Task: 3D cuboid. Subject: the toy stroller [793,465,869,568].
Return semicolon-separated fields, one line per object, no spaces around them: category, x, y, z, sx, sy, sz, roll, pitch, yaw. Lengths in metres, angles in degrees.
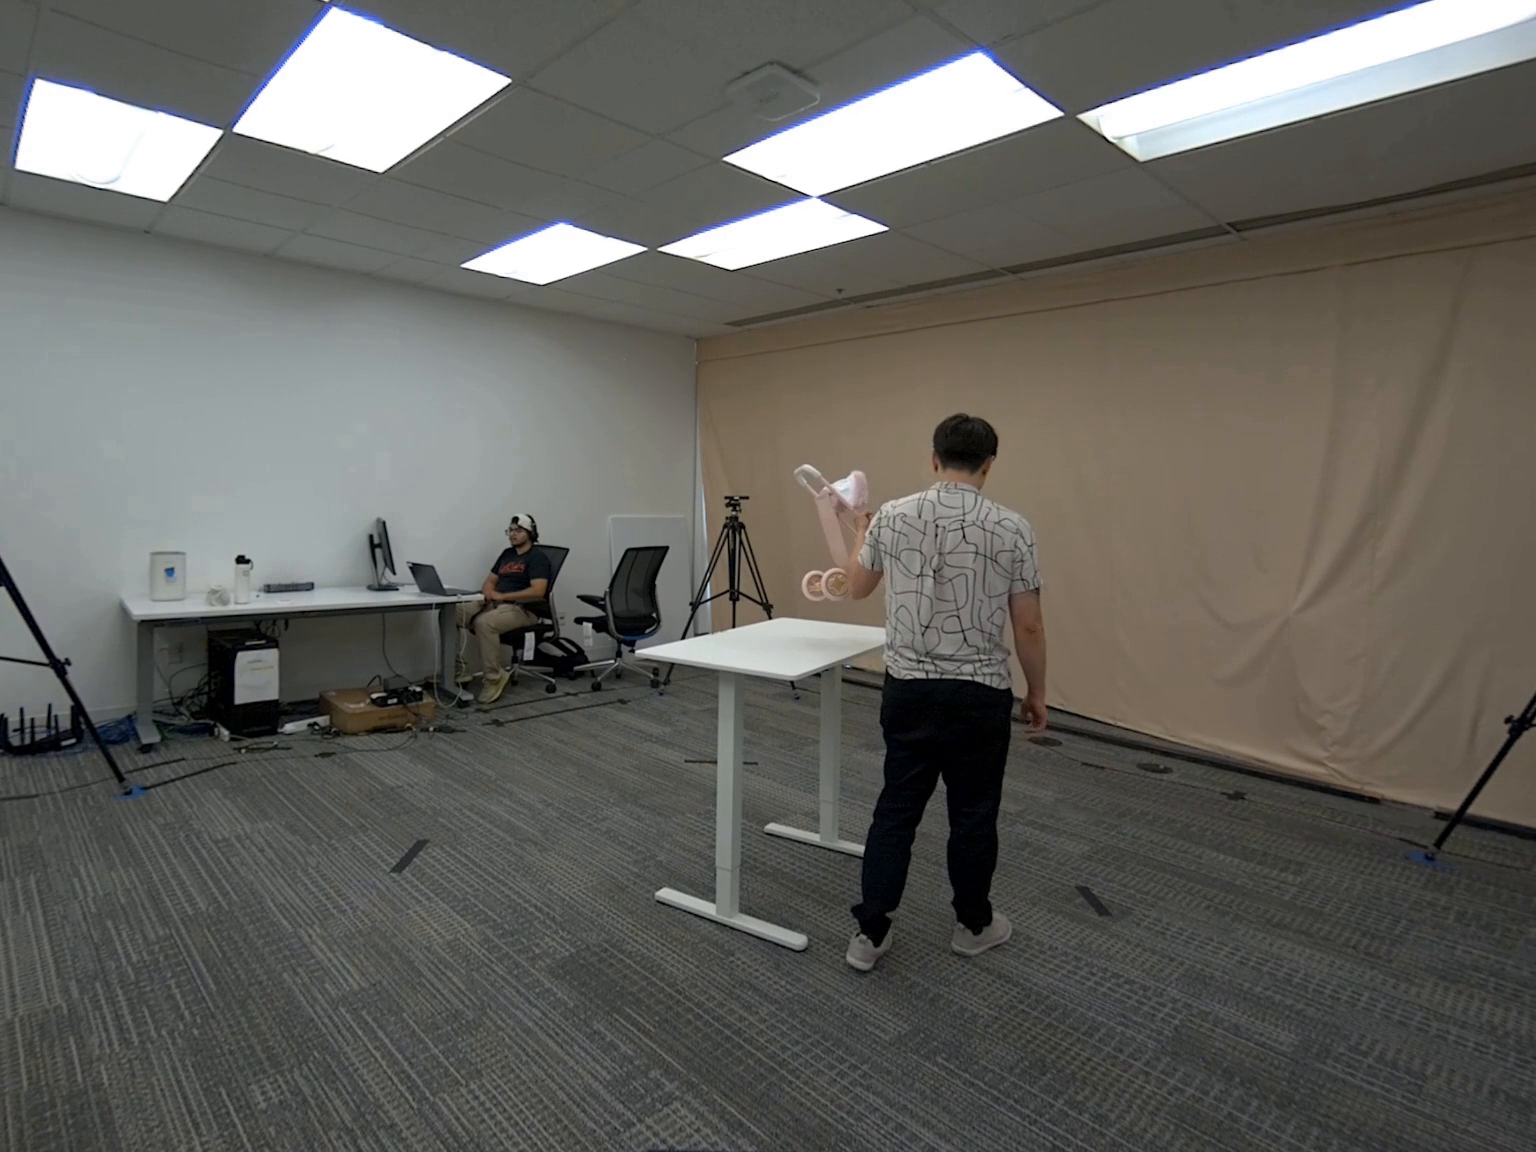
toy stroller;0.308;-0.128;2.984;0.339;0.536;0.282;-4;-3;-7
